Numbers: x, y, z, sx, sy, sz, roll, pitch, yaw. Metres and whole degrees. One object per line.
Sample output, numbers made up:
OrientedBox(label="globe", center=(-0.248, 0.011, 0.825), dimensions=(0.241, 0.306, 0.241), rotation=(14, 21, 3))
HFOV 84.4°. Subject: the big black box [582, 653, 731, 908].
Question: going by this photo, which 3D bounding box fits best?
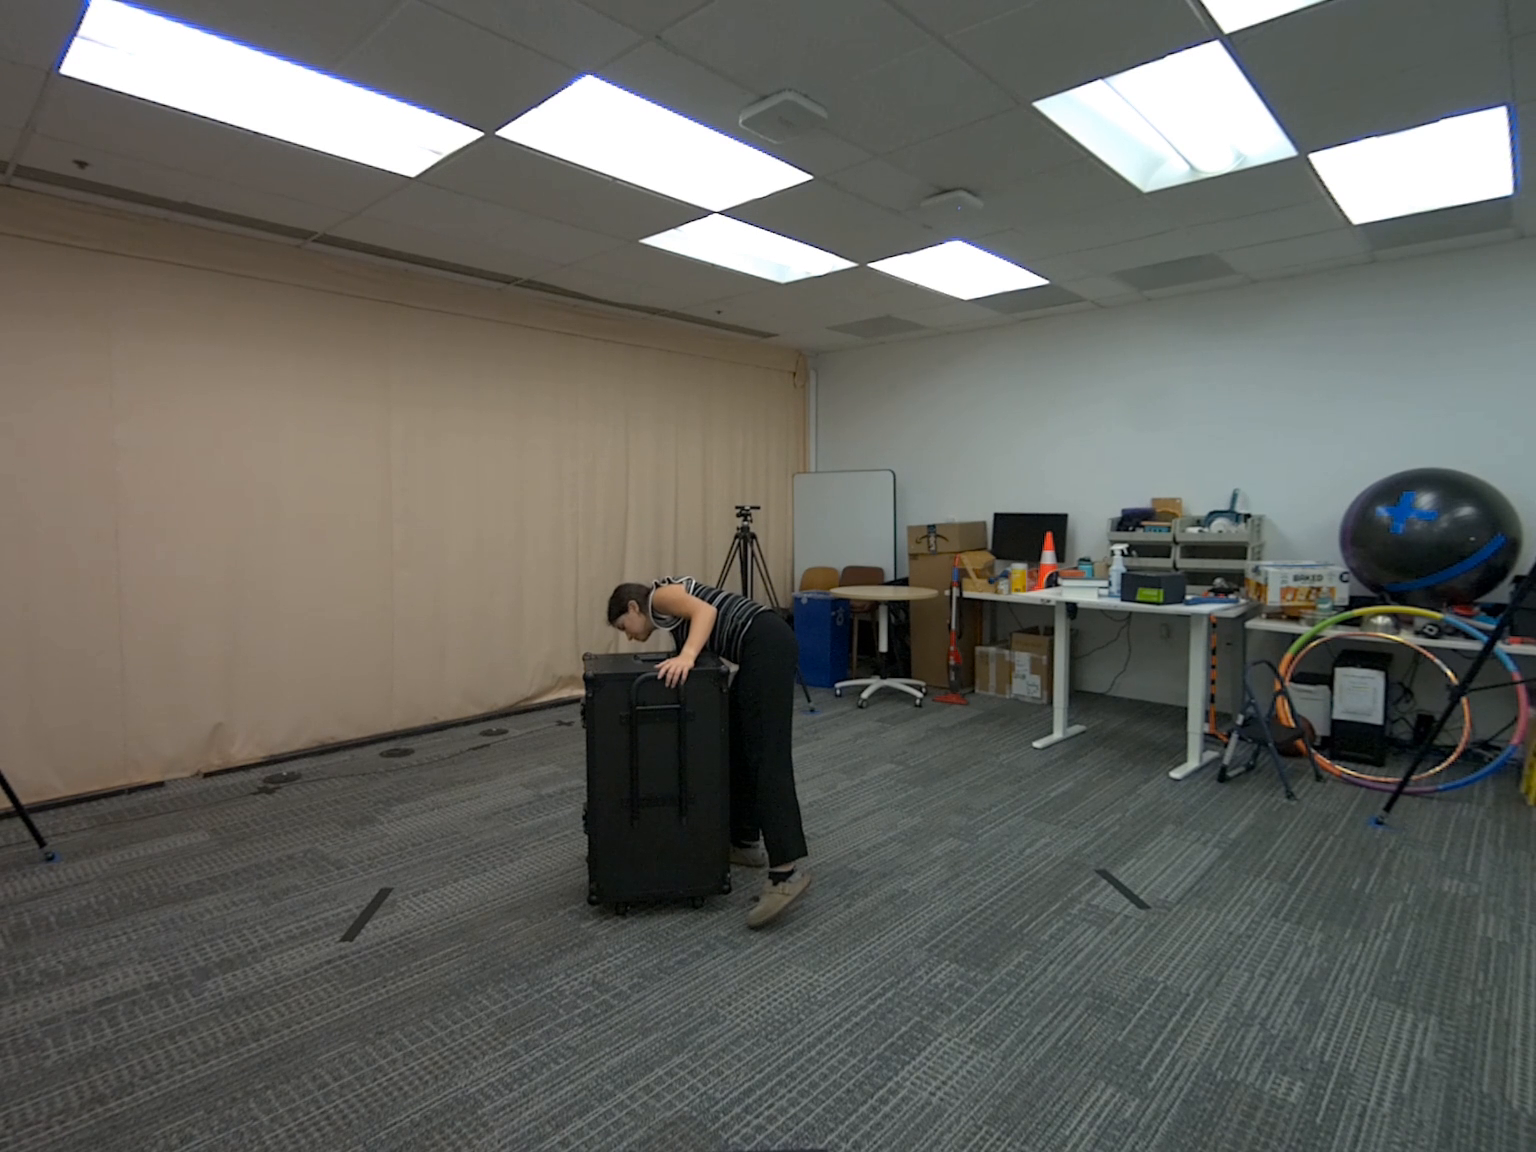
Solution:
OrientedBox(label="big black box", center=(-0.403, 0.718, 2.972), dimensions=(0.517, 0.859, 0.400), rotation=(0, 4, -8))
